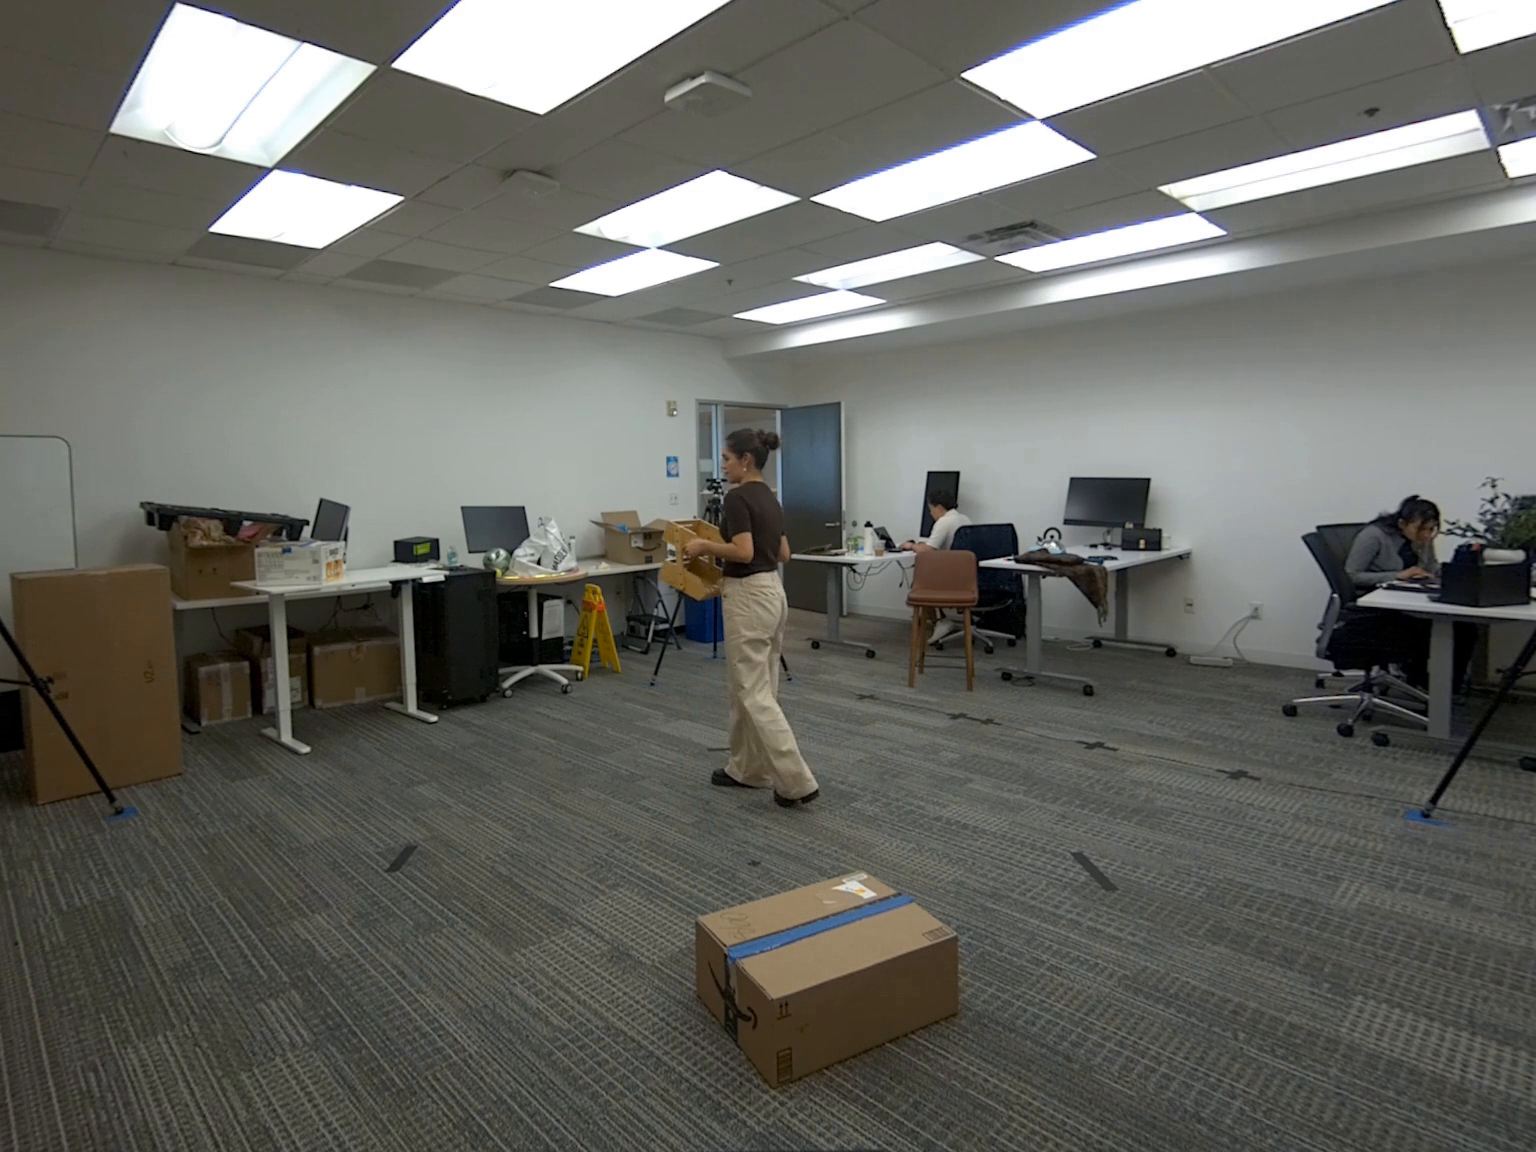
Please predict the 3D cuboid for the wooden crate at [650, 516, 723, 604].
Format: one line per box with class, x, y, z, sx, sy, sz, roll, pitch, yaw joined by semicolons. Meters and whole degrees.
wooden crate;-0.289;-0.084;3.897;0.309;0.271;0.319;26;13;19
